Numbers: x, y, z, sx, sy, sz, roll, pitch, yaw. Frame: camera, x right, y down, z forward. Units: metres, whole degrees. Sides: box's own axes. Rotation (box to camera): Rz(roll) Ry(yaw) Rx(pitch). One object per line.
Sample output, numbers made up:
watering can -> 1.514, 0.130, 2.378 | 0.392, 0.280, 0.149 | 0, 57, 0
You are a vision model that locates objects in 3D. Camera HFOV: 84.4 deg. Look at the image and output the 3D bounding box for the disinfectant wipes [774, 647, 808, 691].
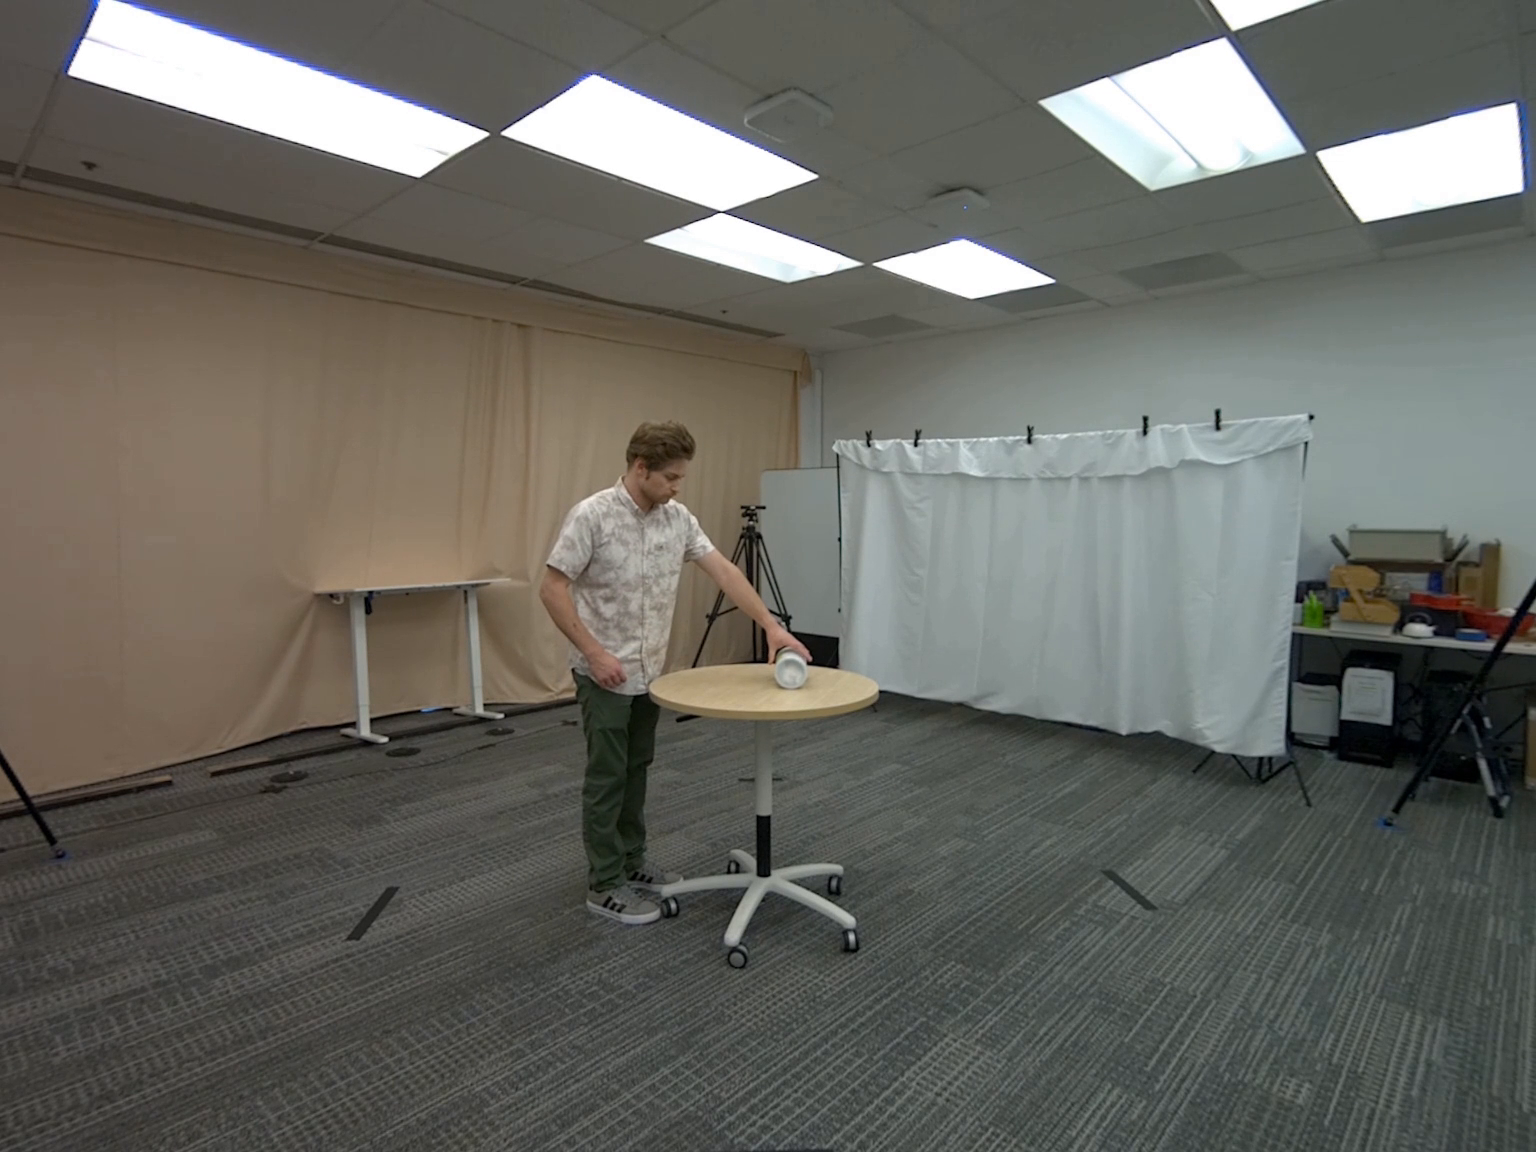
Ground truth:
disinfectant wipes -> 0.083, 0.308, 2.834 | 0.118, 0.117, 0.218 | 0, 7, 0
